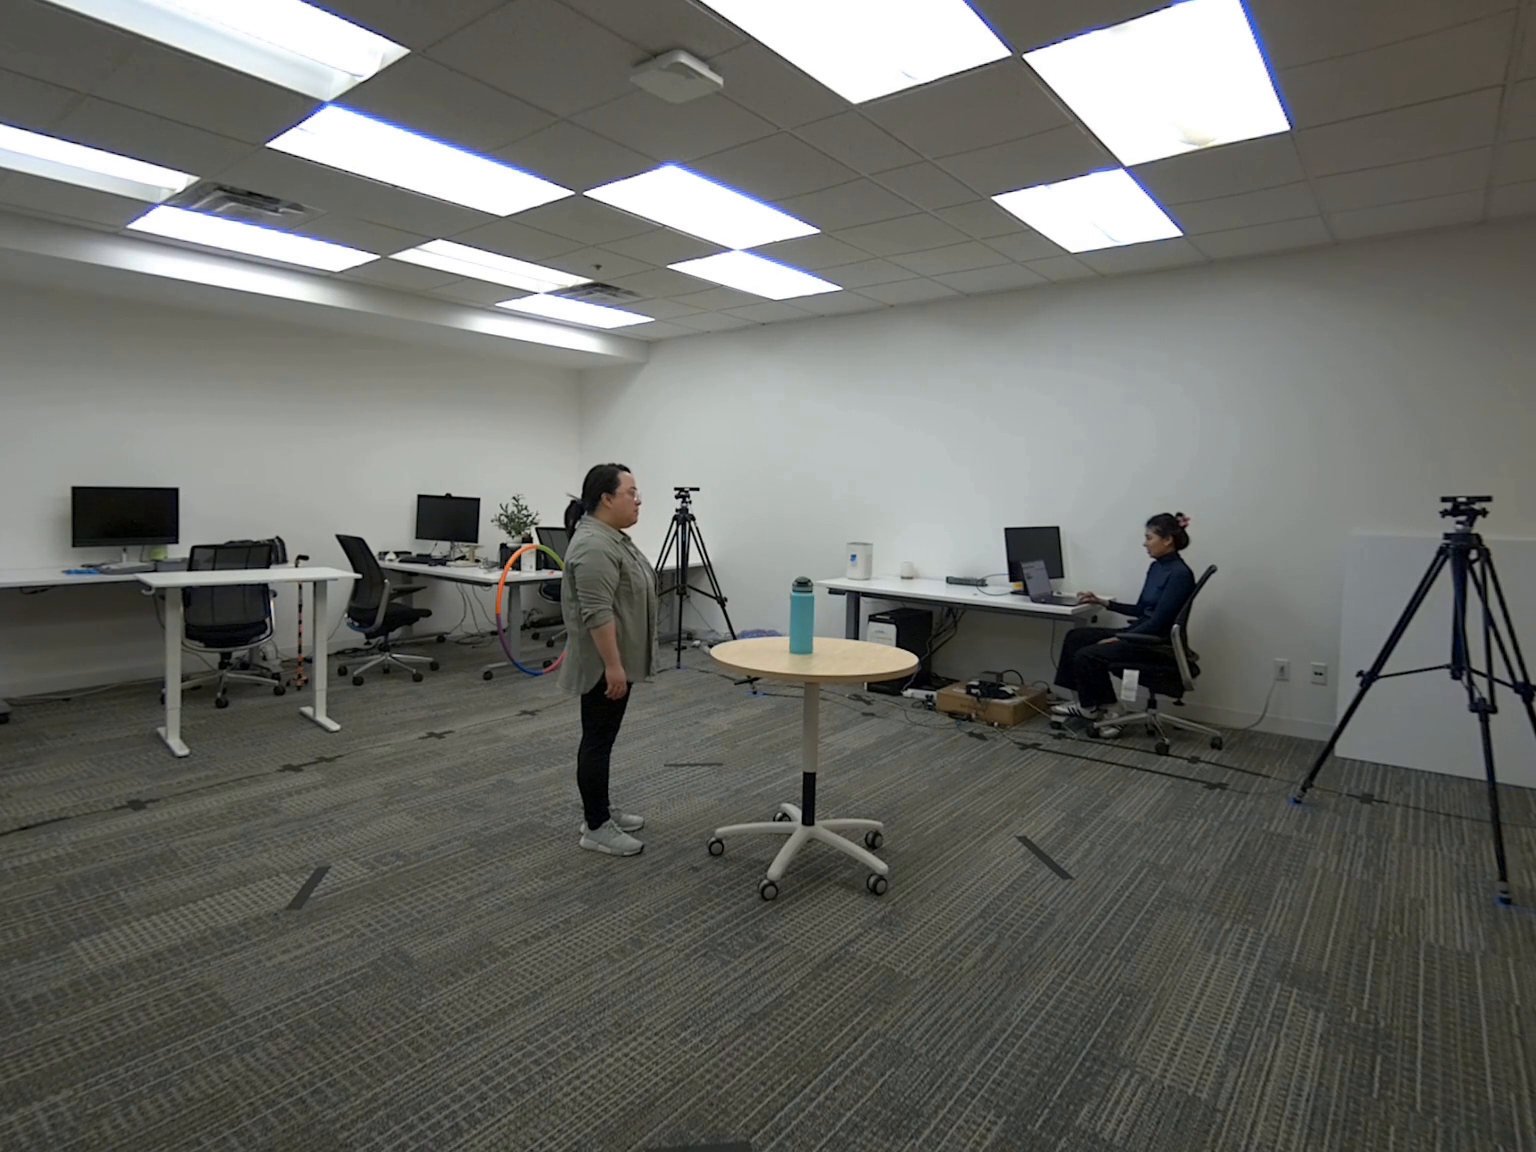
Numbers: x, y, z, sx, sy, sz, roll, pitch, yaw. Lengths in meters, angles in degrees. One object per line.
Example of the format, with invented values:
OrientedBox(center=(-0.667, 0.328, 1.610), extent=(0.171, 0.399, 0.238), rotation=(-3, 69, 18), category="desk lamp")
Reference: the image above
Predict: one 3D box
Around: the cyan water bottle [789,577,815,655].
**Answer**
OrientedBox(center=(0.131, 0.144, 3.183), extent=(0.092, 0.283, 0.092), rotation=(1, 2, -2), category="cyan water bottle")
